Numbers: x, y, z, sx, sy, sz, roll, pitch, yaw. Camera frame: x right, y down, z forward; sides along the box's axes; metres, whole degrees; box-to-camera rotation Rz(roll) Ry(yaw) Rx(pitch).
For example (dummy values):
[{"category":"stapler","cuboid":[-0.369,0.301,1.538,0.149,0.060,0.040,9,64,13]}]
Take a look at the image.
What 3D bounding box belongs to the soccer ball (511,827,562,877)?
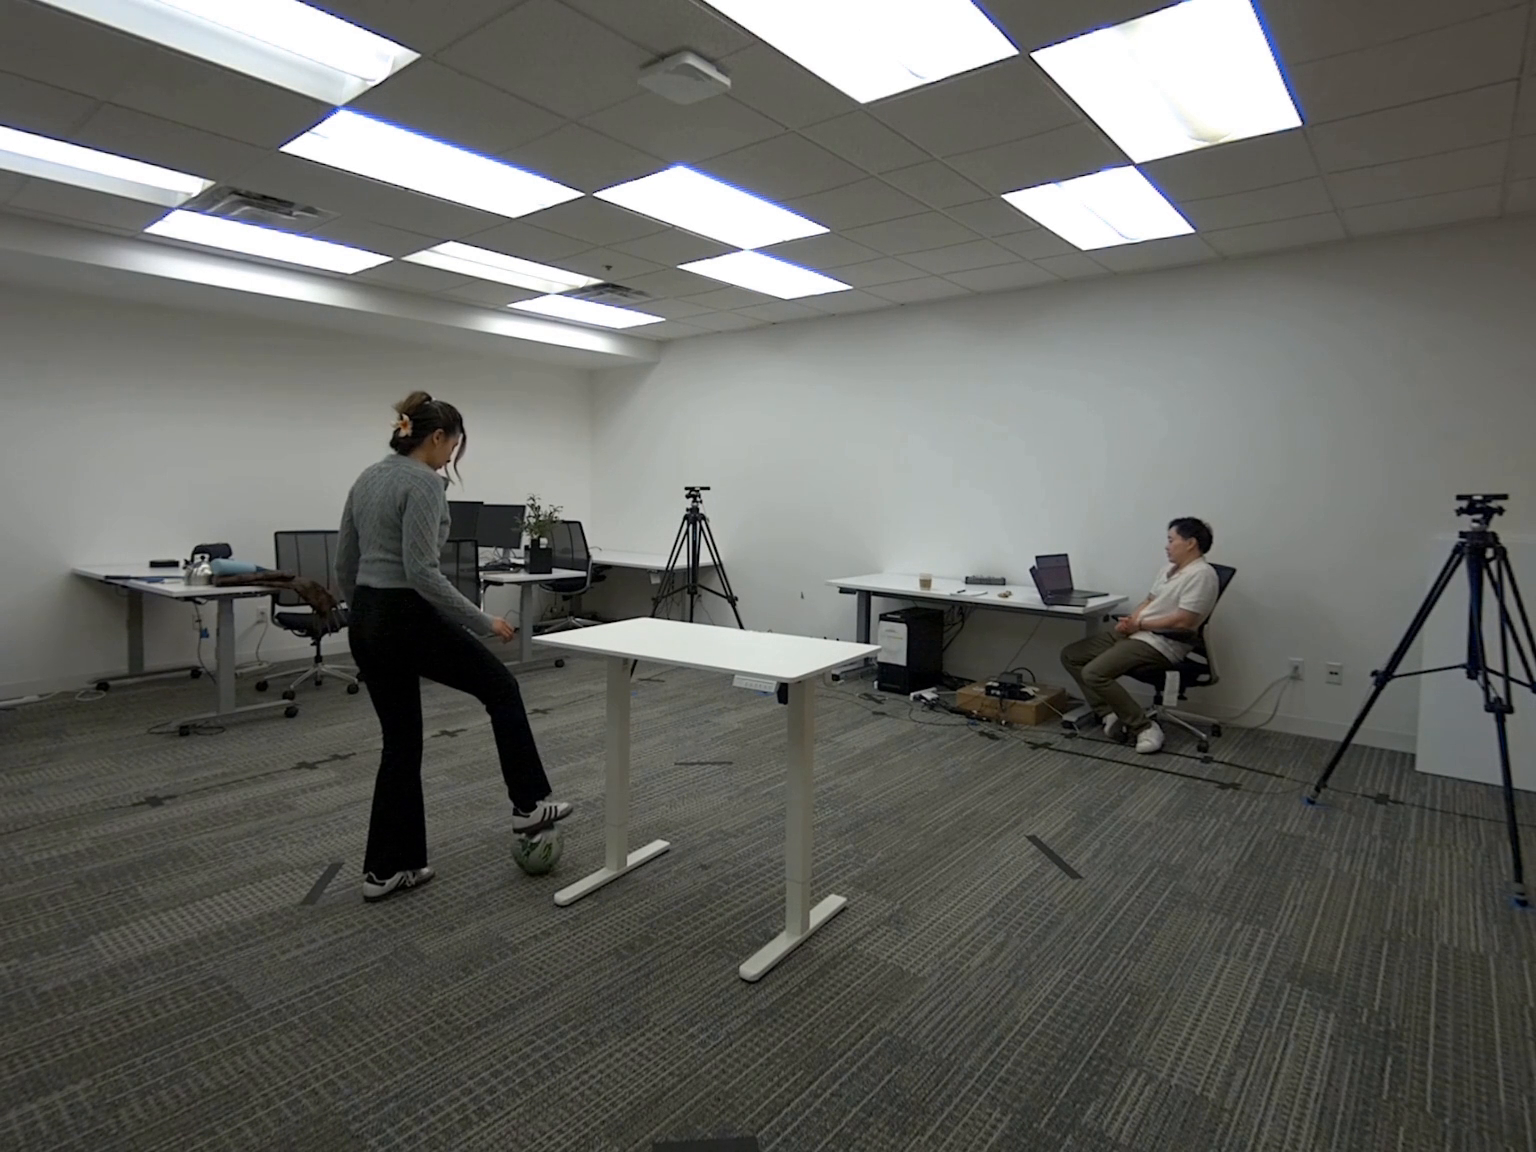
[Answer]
[{"category":"soccer ball","cuboid":[-0.846,0.978,3.072,0.187,0.187,0.188,0,4,-2]}]
